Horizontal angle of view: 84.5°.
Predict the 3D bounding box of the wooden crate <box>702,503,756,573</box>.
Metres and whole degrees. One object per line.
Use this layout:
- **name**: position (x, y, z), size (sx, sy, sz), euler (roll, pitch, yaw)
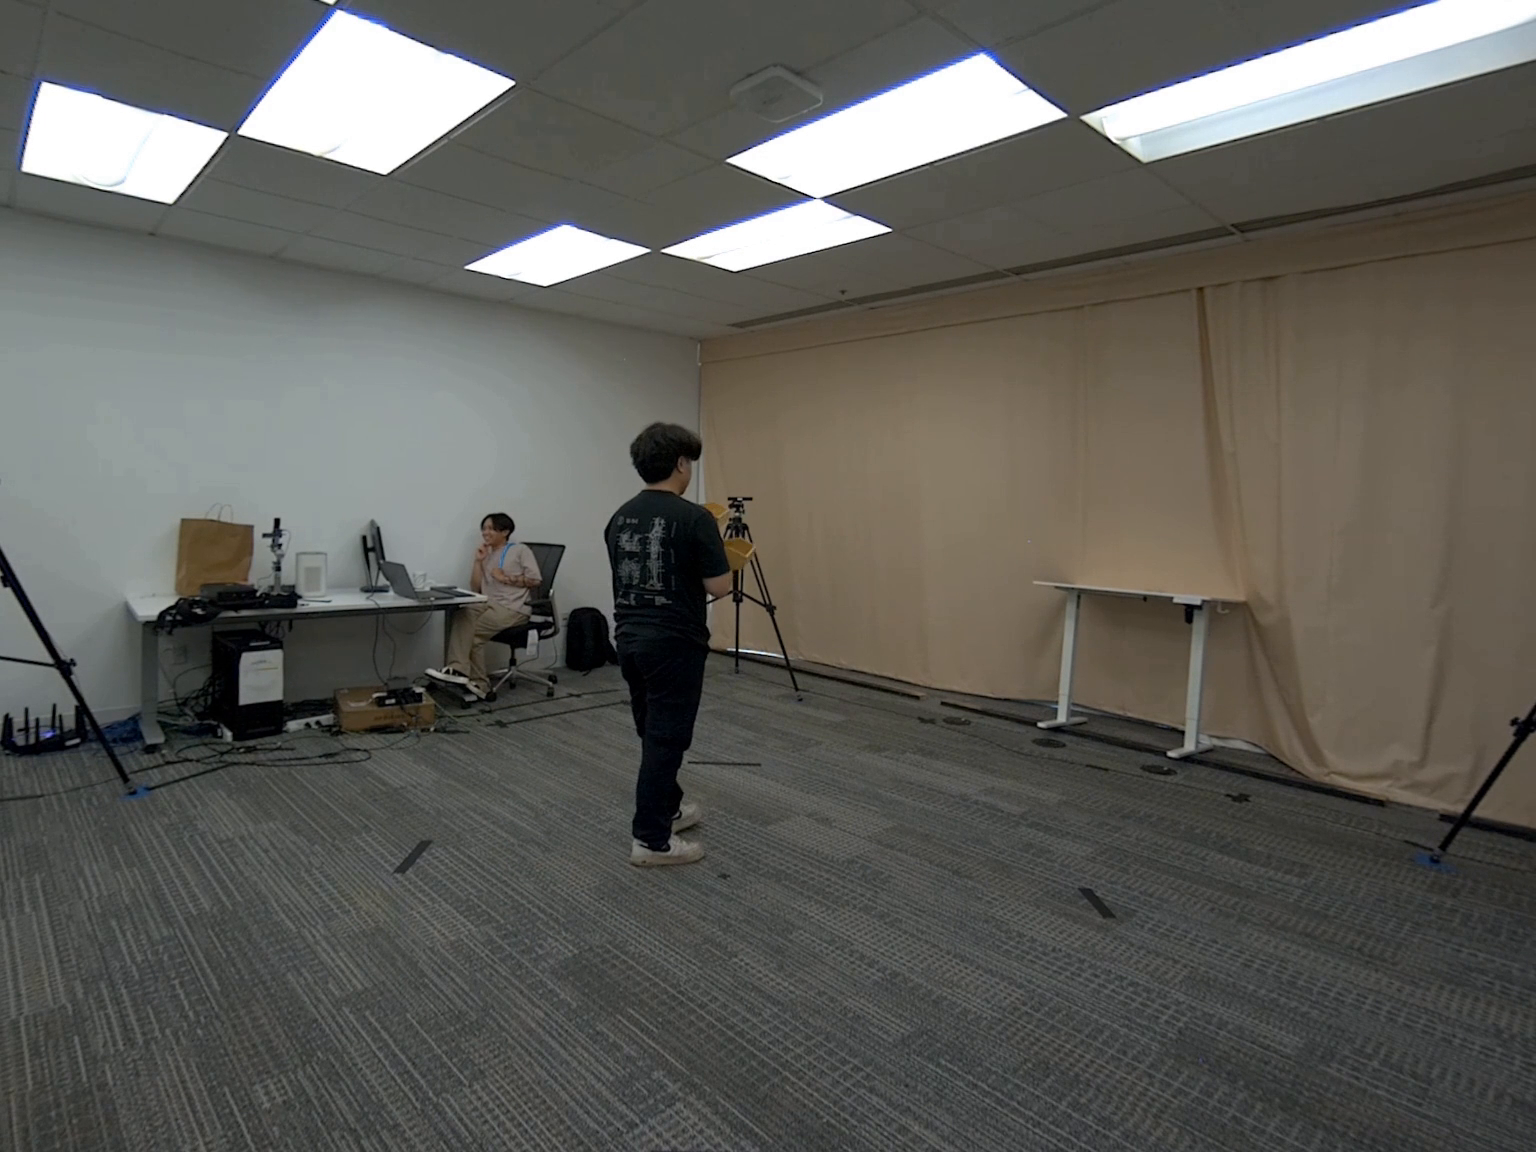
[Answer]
- **wooden crate**: position (-0.235, -0.172, 3.529), size (0.304, 0.271, 0.324), euler (-7, 8, 8)
